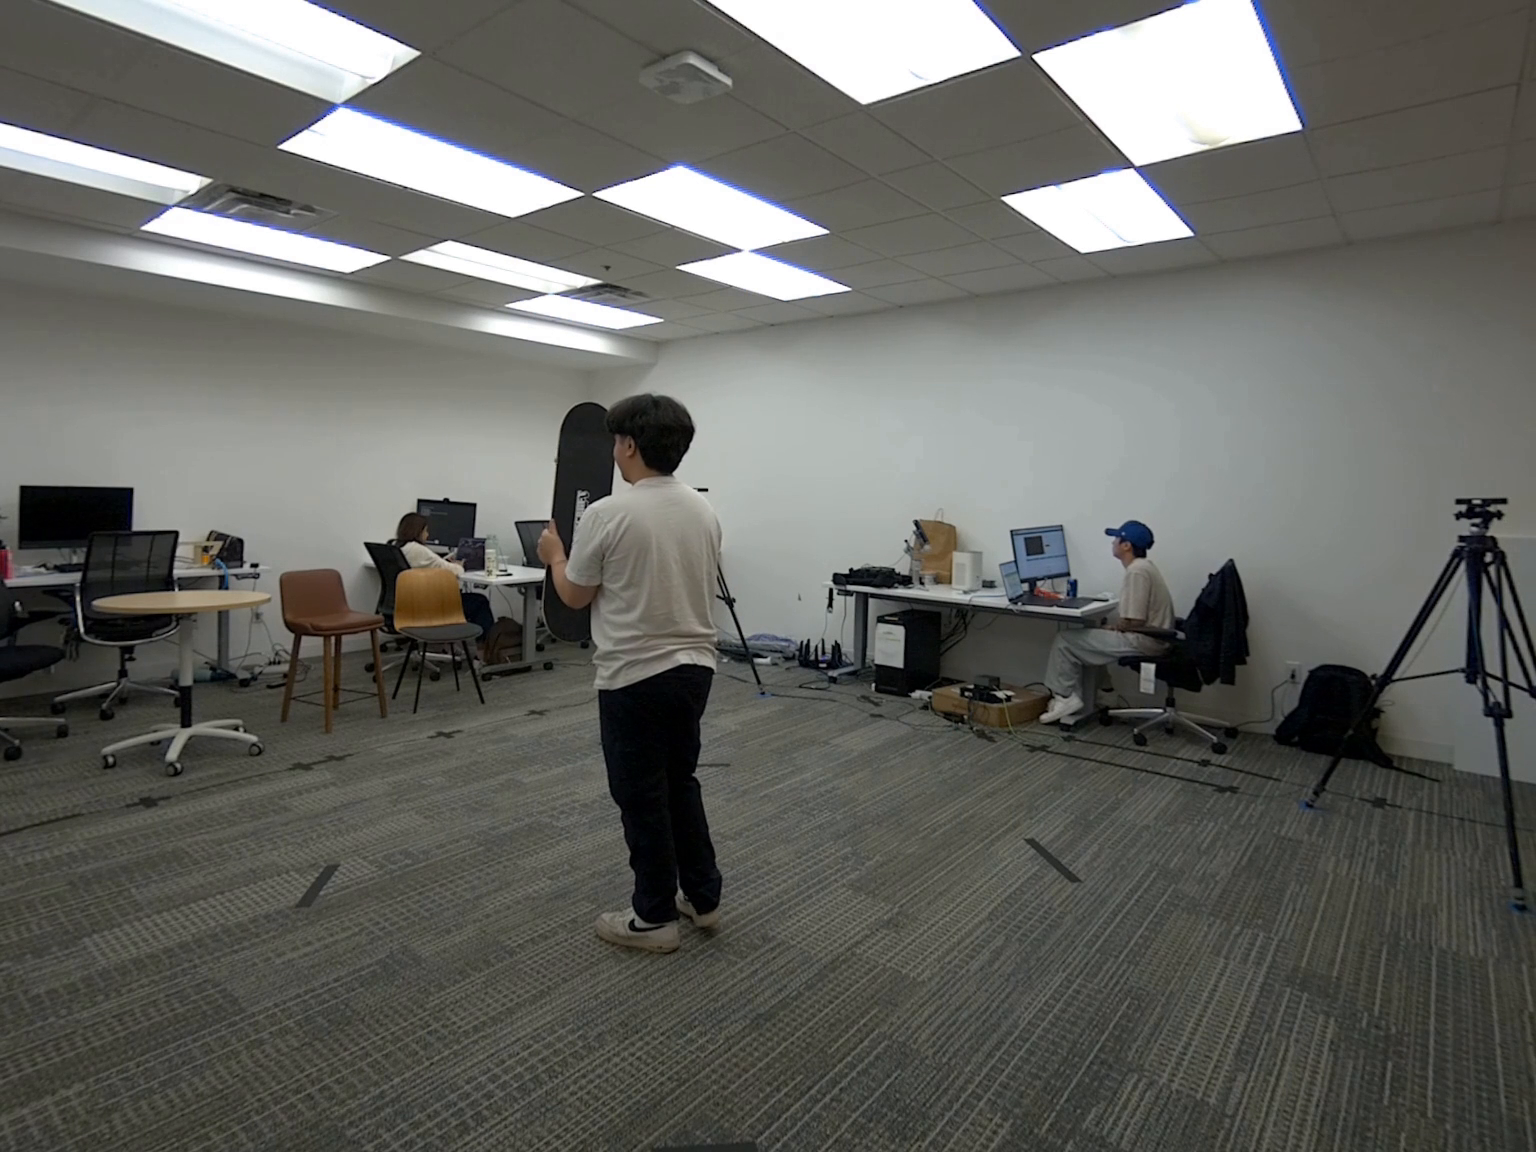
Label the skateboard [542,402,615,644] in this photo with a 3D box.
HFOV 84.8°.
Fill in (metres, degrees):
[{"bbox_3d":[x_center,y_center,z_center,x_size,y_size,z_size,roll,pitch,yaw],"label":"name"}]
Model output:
[{"bbox_3d":[-0.634,-0.180,2.814,0.190,0.790,0.112,7,-7,-17],"label":"skateboard"}]
